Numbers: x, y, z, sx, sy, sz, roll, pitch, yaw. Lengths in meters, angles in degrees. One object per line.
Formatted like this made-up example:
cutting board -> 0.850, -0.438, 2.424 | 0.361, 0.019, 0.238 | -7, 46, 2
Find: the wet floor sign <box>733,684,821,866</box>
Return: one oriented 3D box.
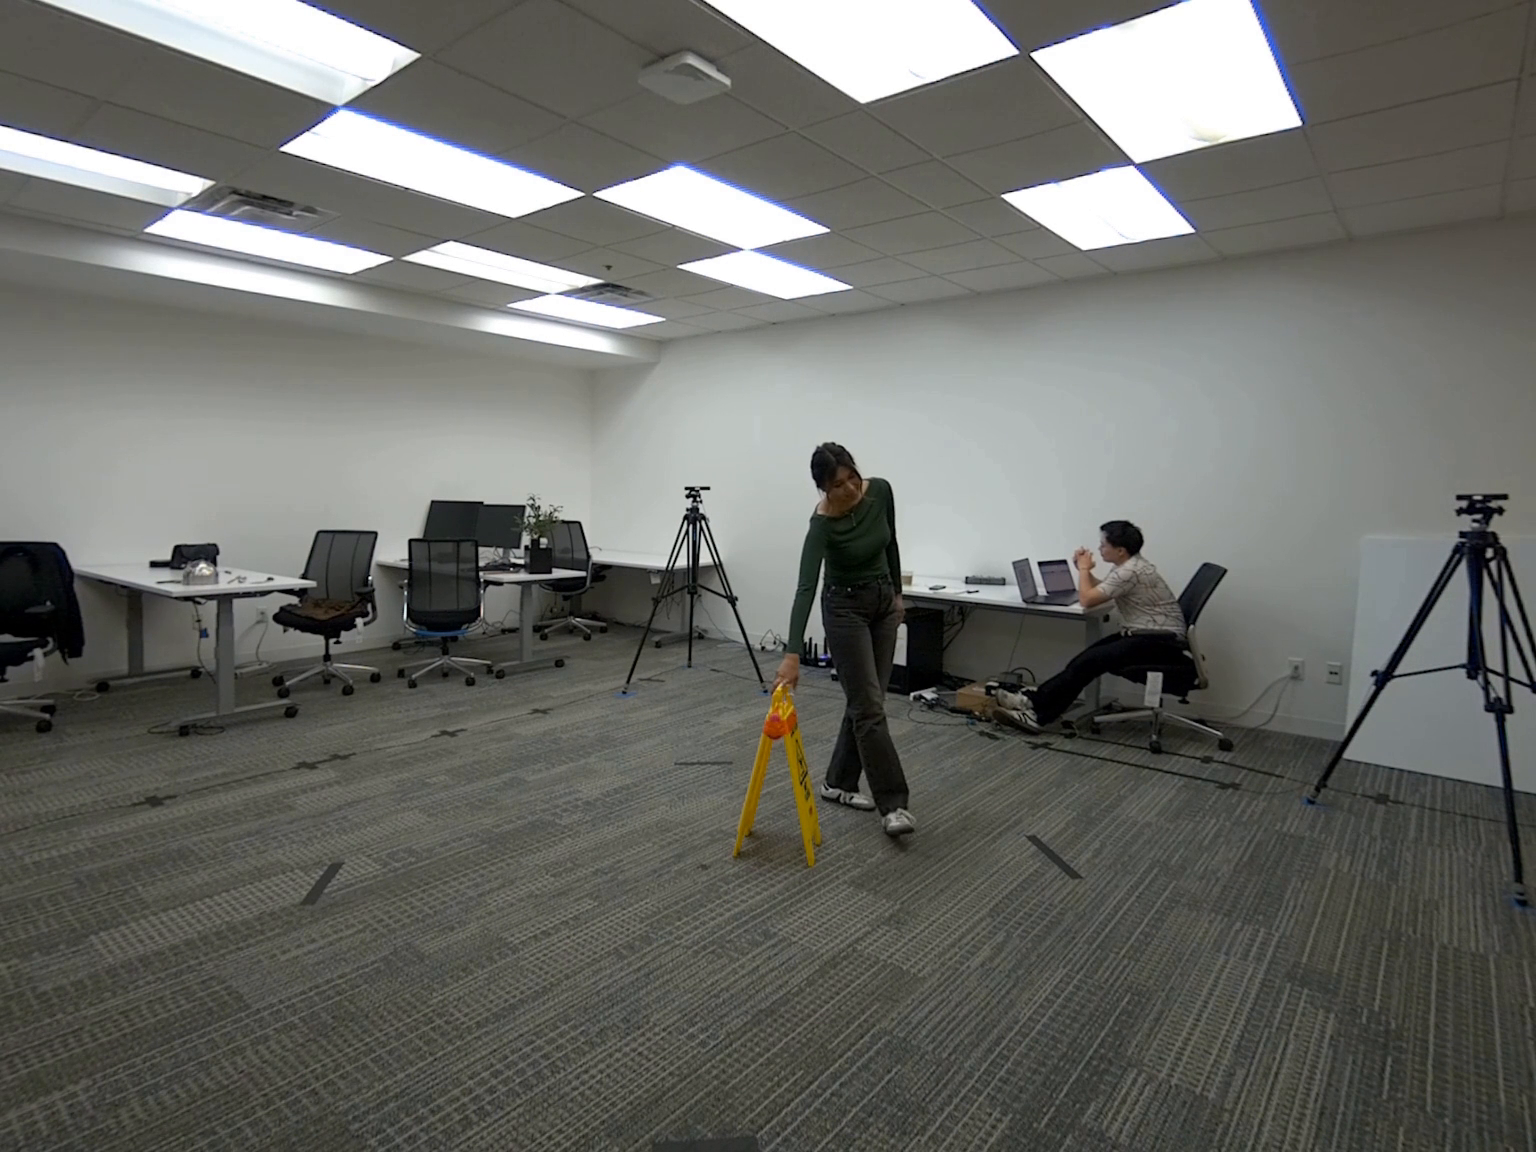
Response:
wet floor sign -> 0.035, 0.729, 3.281 | 0.294, 0.645, 0.278 | 1, 2, 13
